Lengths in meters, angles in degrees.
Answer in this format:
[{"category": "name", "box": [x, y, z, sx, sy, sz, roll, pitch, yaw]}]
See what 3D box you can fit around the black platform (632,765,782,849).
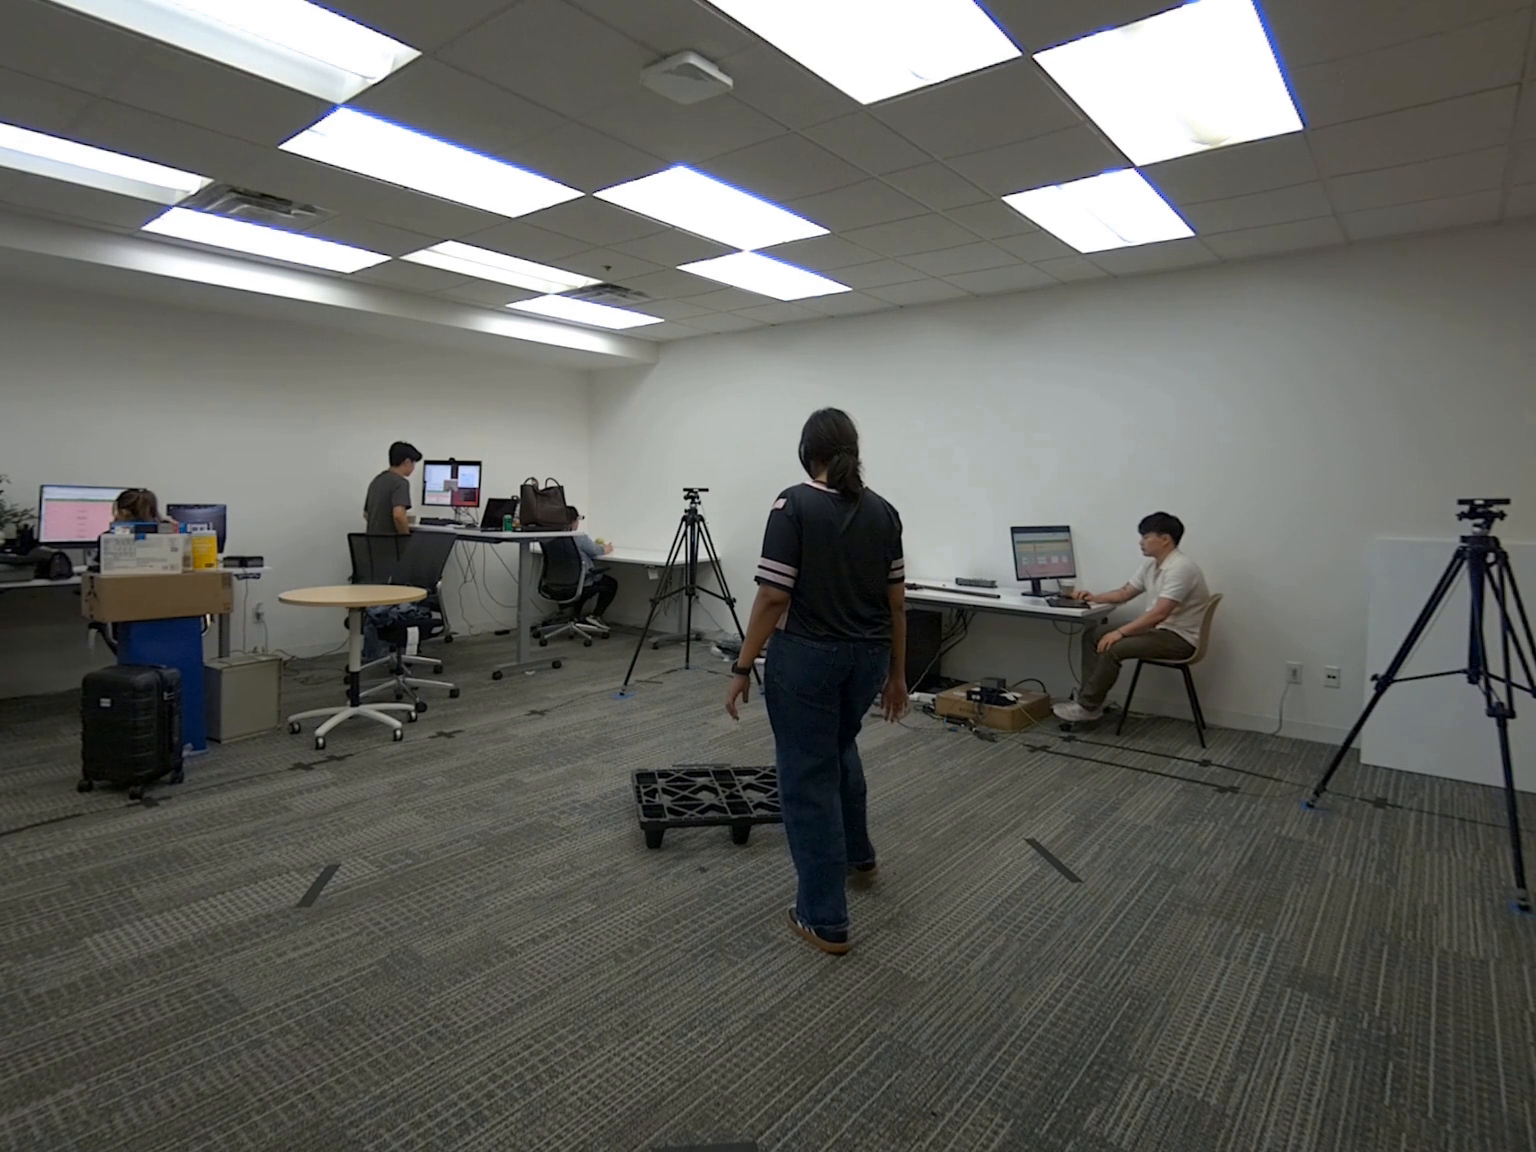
[{"category": "black platform", "box": [-0.167, 0.959, 3.564, 0.797, 0.143, 0.615, 0, 6, -11]}]
